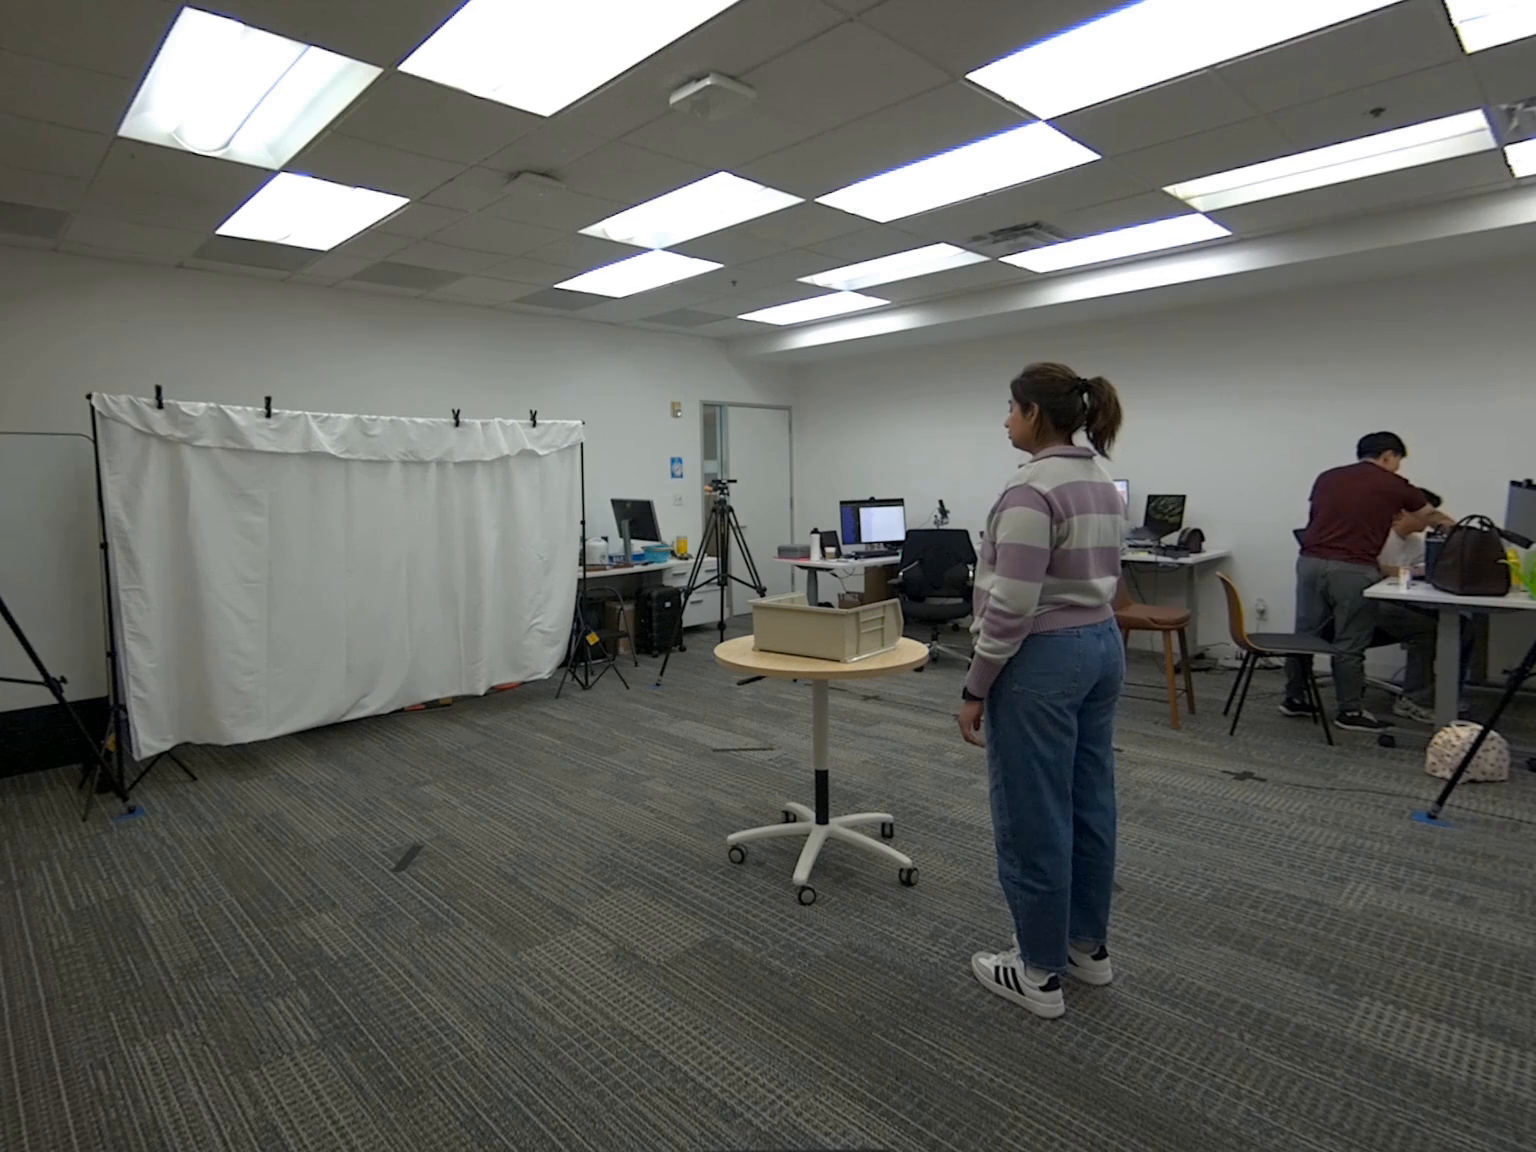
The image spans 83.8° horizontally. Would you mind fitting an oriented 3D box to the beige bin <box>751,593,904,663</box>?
[{"bbox_3d":[0.207,0.175,3.067,0.435,0.188,0.368,4,9,39],"label":"beige bin"}]
